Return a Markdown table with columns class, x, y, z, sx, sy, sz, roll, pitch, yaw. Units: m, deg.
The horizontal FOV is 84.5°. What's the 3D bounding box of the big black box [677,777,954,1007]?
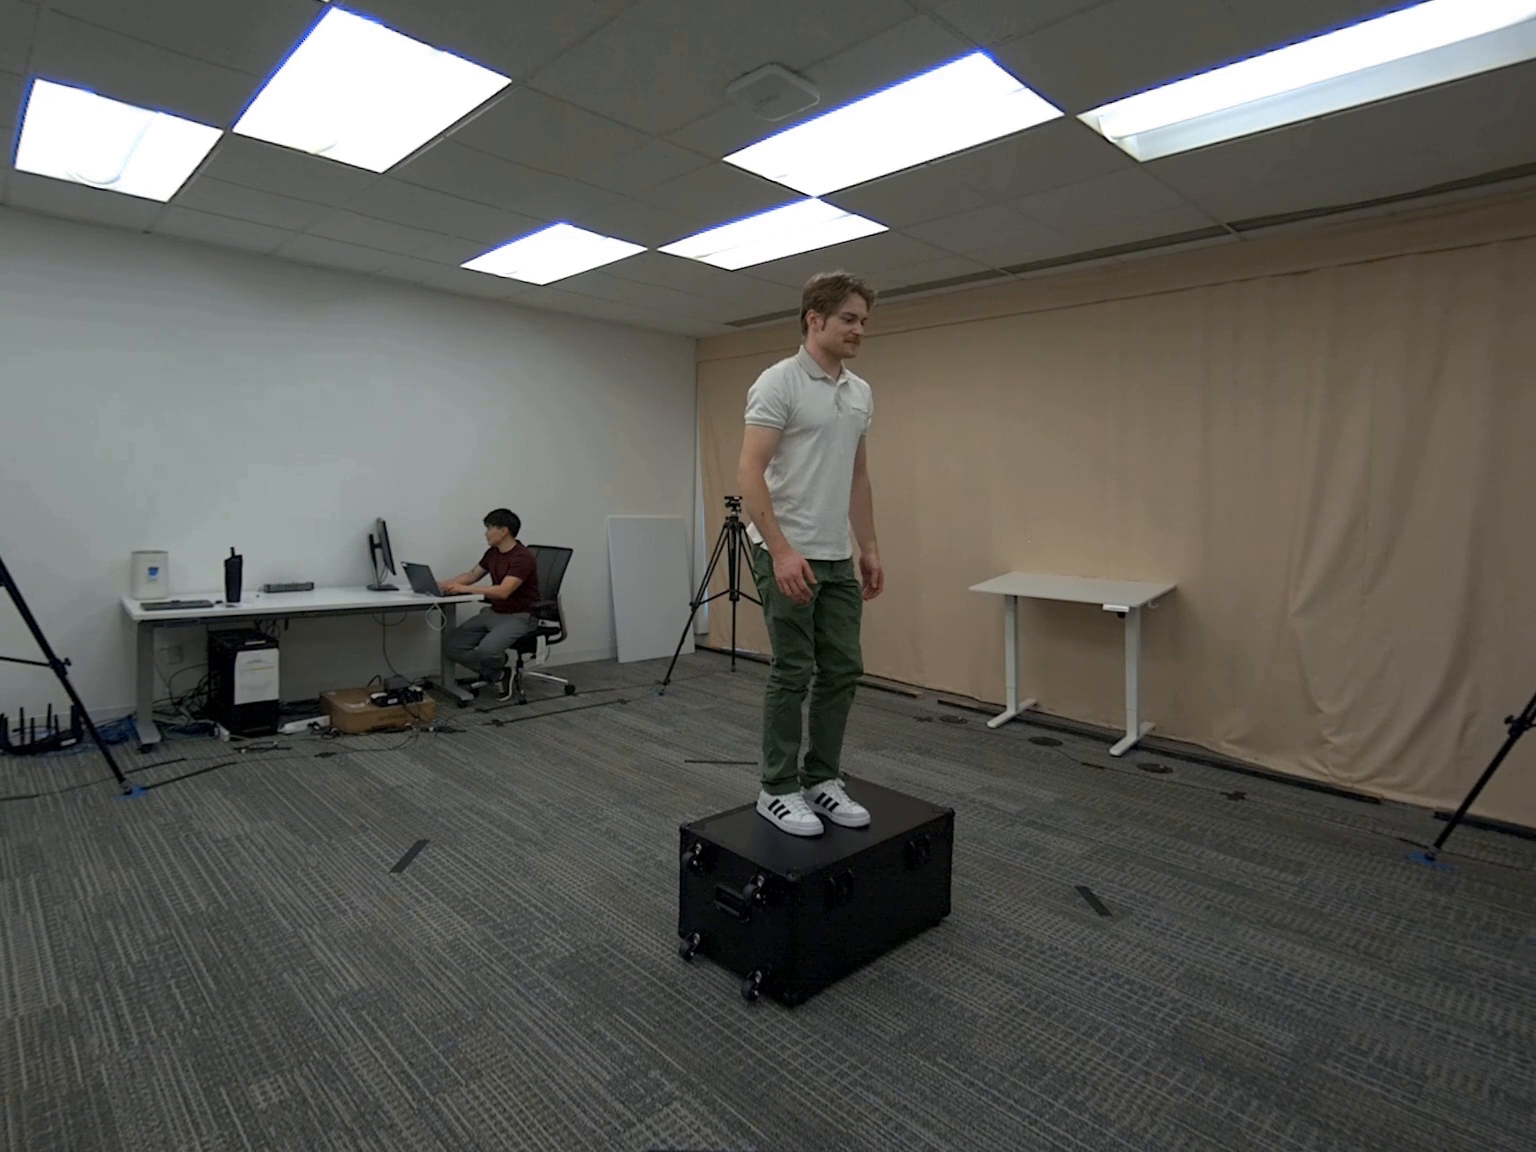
| class | x | y | z | sx | sy | sz | roll | pitch | yaw |
| --- | --- | --- | --- | --- | --- | --- | --- | --- | --- |
| big black box | 0.133 | 0.960 | 2.679 | 0.849 | 0.384 | 0.537 | -4 | 8 | -44 |
